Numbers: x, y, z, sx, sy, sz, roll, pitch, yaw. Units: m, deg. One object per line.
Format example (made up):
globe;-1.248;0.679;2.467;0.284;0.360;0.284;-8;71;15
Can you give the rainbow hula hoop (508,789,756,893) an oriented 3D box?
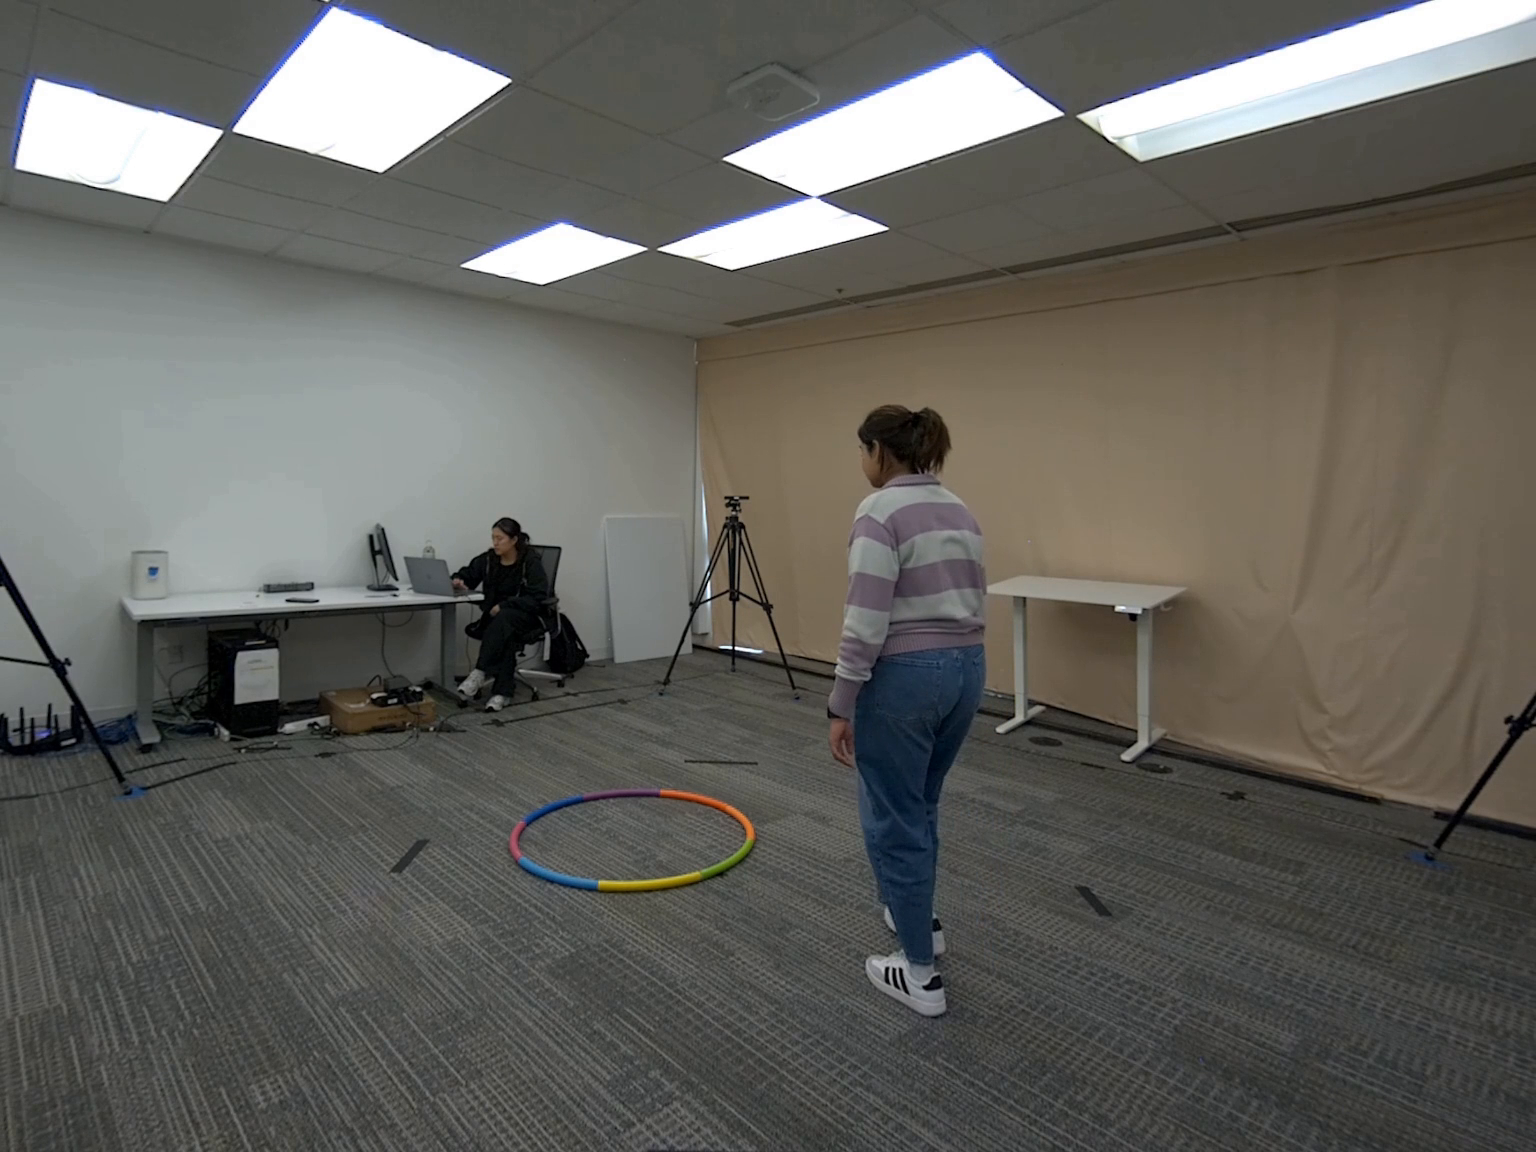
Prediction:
rainbow hula hoop;-0.546;1.036;3.427;0.978;0.035;0.982;2;5;-1
